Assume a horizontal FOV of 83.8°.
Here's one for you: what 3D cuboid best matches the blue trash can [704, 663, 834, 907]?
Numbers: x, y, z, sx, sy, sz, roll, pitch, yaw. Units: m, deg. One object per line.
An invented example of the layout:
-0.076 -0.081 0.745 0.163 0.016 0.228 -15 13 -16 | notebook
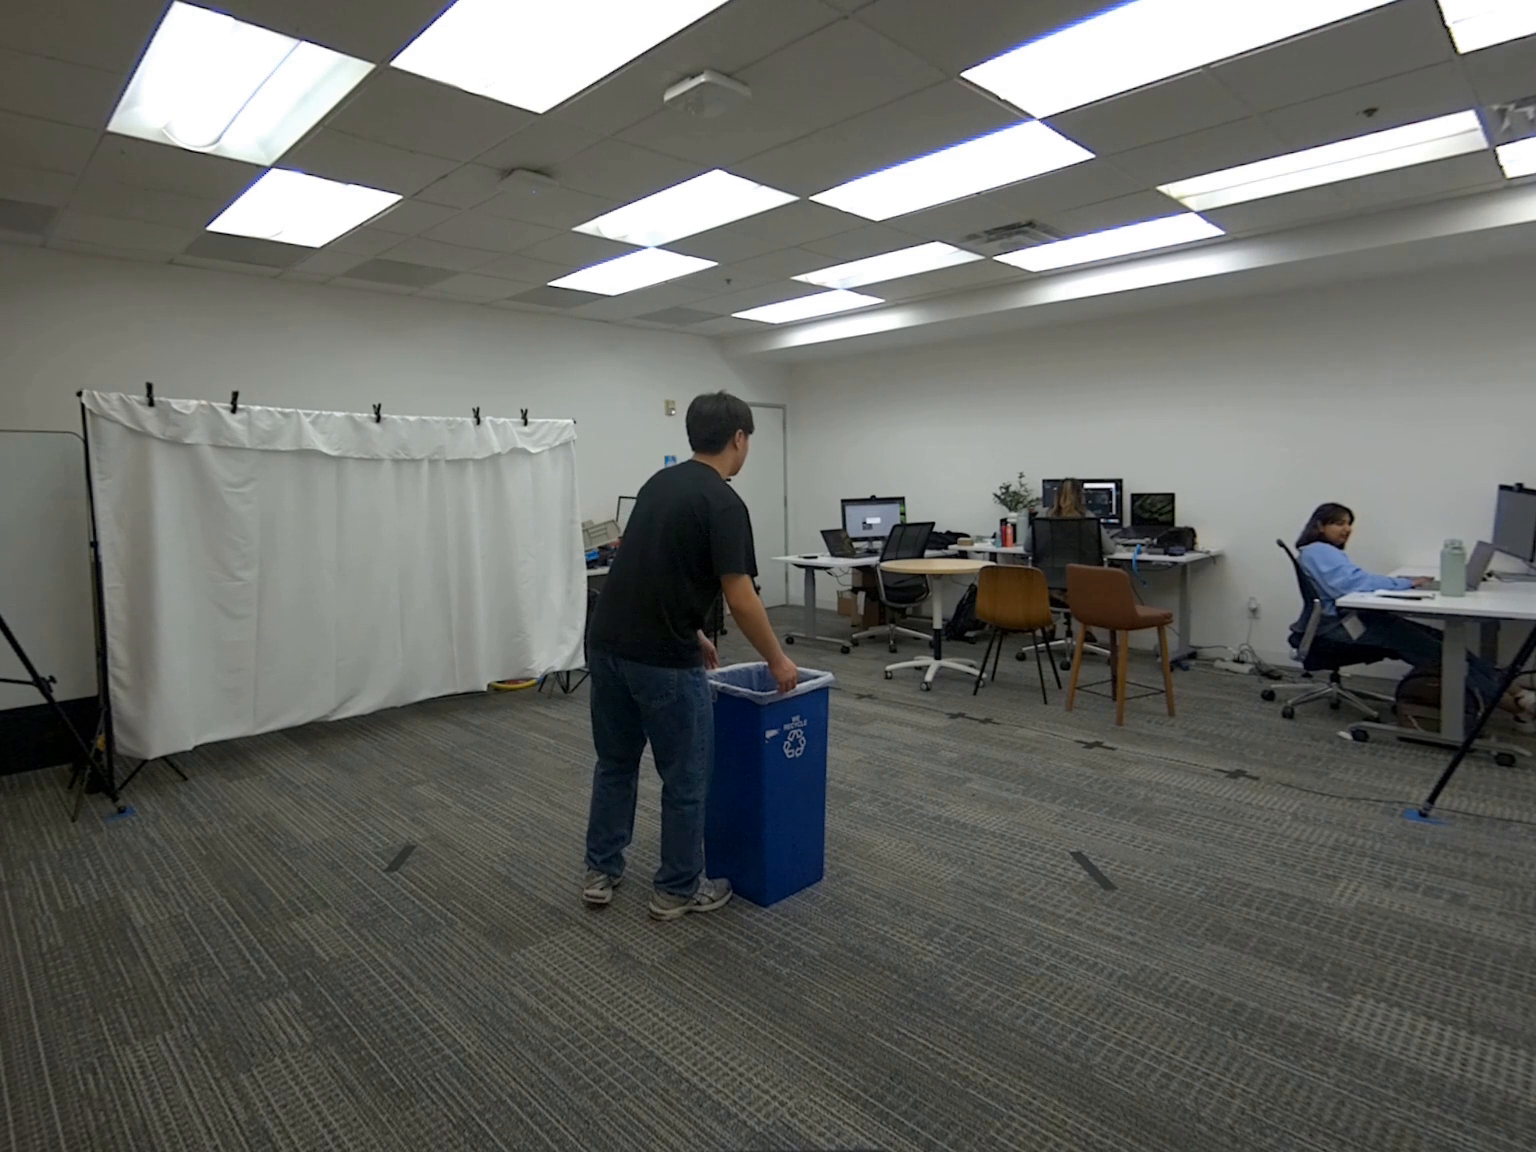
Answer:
-0.009 0.698 2.971 0.364 0.711 0.390 -5 6 -43 | blue trash can
